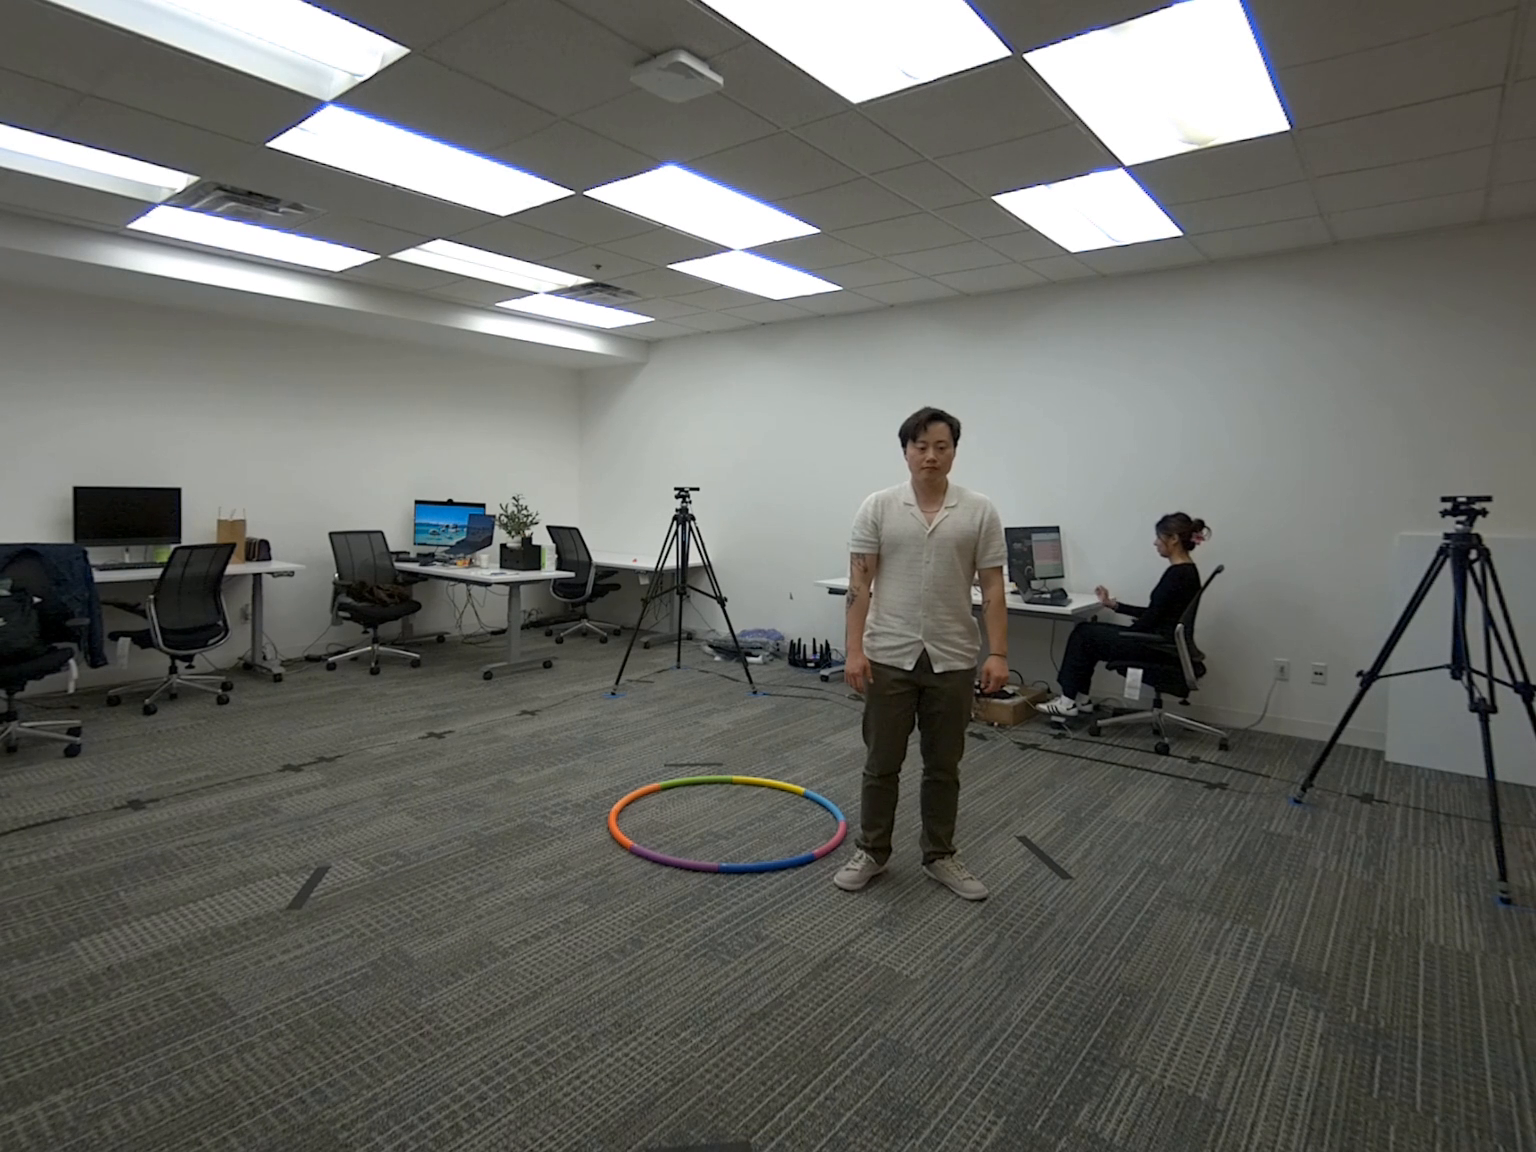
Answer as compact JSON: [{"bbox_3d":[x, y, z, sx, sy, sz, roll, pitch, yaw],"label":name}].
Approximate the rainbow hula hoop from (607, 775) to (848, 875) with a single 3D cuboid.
[{"bbox_3d":[-0.184,0.992,3.545,0.978,0.035,0.984,1,6,-2],"label":"rainbow hula hoop"}]
